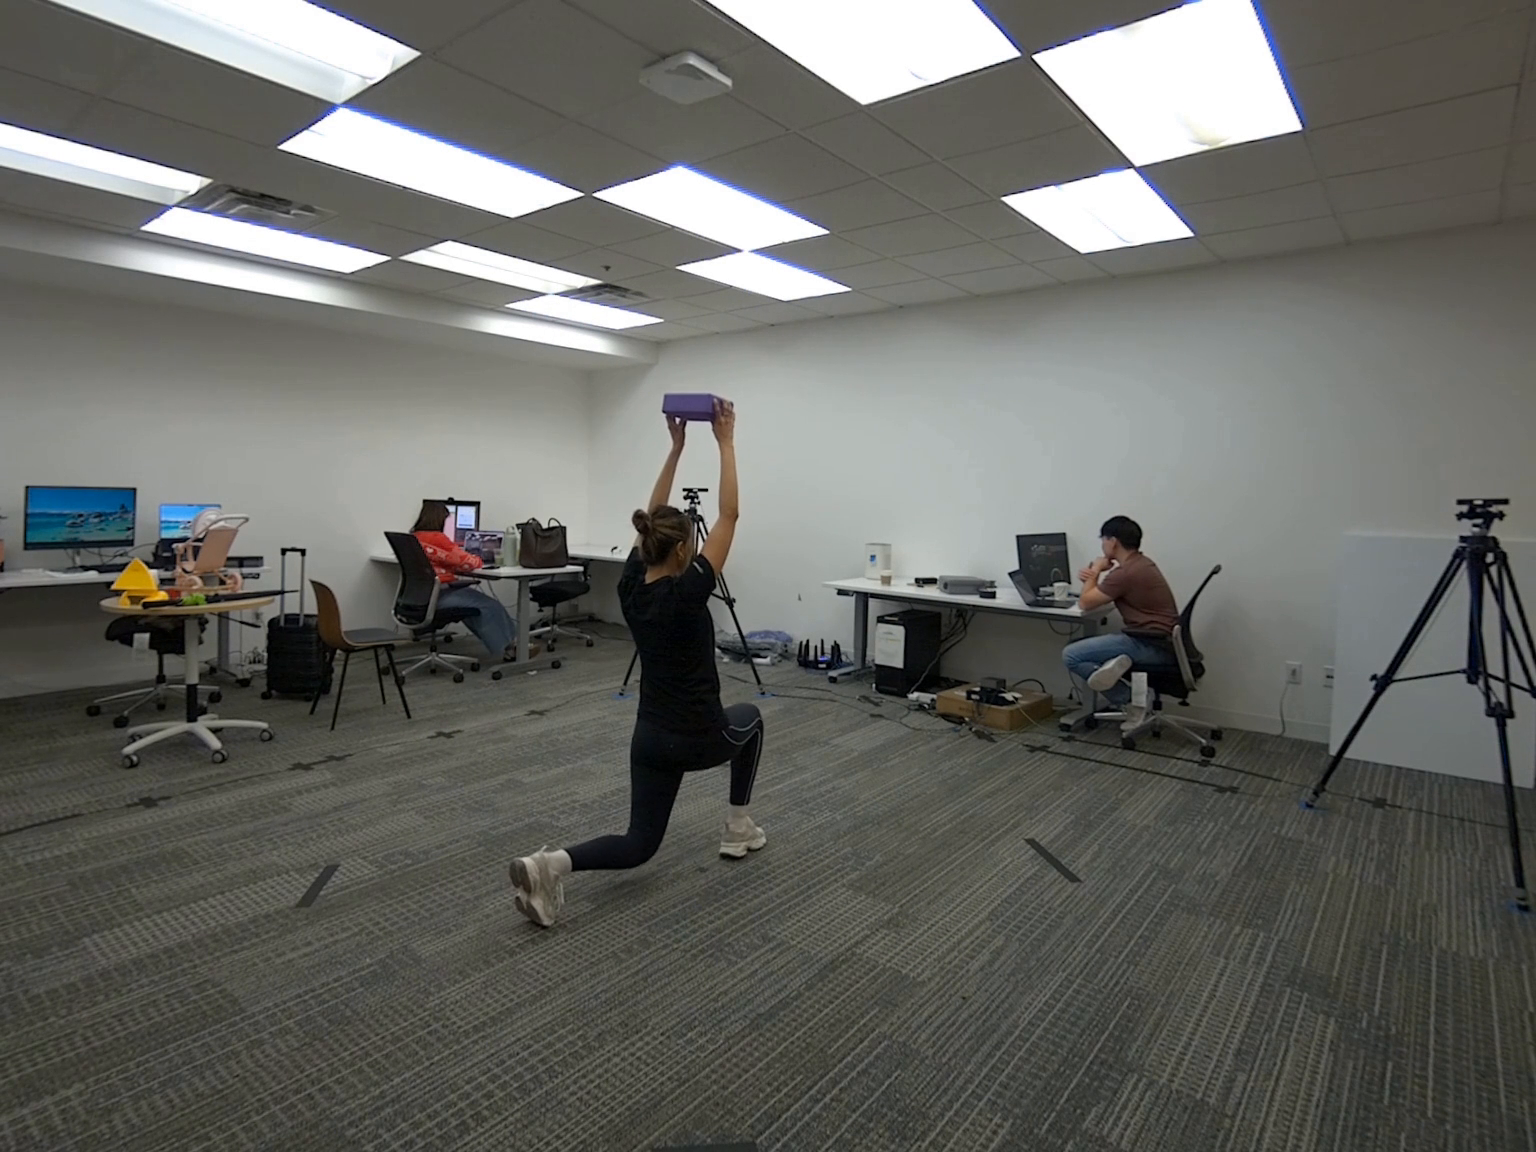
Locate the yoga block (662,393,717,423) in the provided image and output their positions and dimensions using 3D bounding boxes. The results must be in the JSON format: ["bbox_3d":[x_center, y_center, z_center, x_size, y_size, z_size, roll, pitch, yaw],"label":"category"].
[{"bbox_3d":[-0.269,-0.629,3.109,0.237,0.076,0.144,10,0,38],"label":"yoga block"}]
